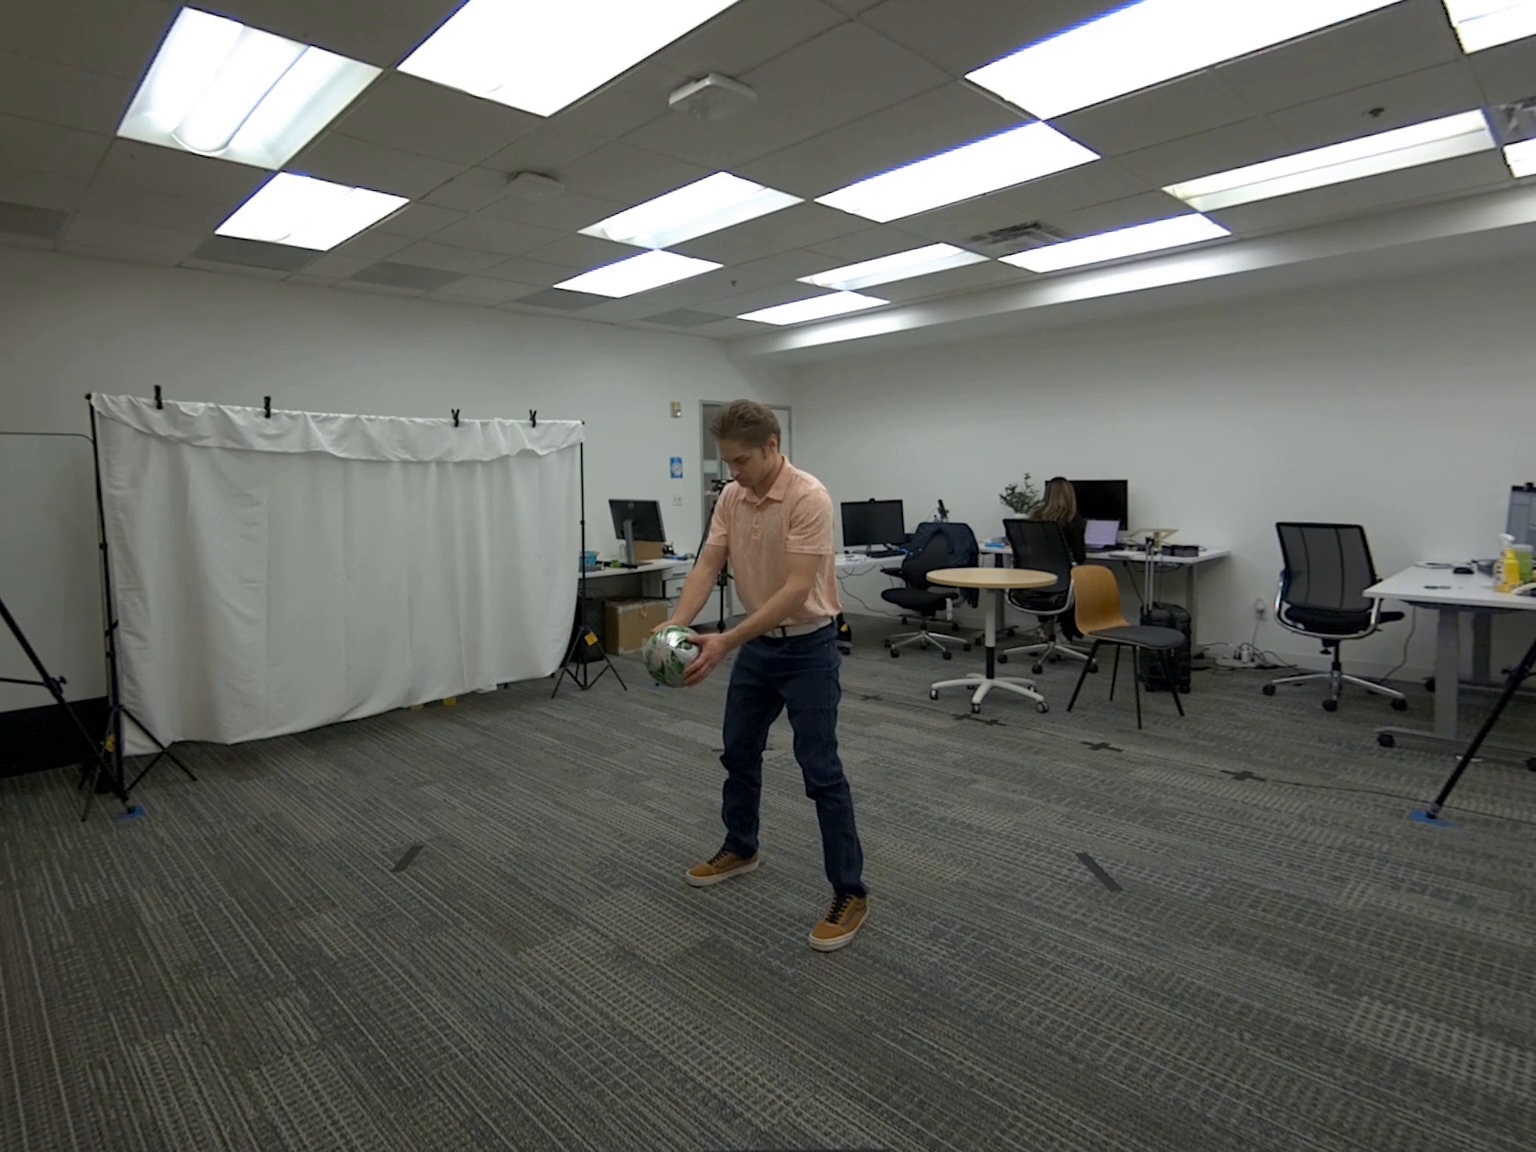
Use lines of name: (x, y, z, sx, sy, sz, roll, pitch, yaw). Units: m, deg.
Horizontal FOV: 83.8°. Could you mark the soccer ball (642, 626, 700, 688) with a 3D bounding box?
soccer ball: (-0.276, 0.242, 2.523, 0.187, 0.187, 0.188, -1, 5, -2)
